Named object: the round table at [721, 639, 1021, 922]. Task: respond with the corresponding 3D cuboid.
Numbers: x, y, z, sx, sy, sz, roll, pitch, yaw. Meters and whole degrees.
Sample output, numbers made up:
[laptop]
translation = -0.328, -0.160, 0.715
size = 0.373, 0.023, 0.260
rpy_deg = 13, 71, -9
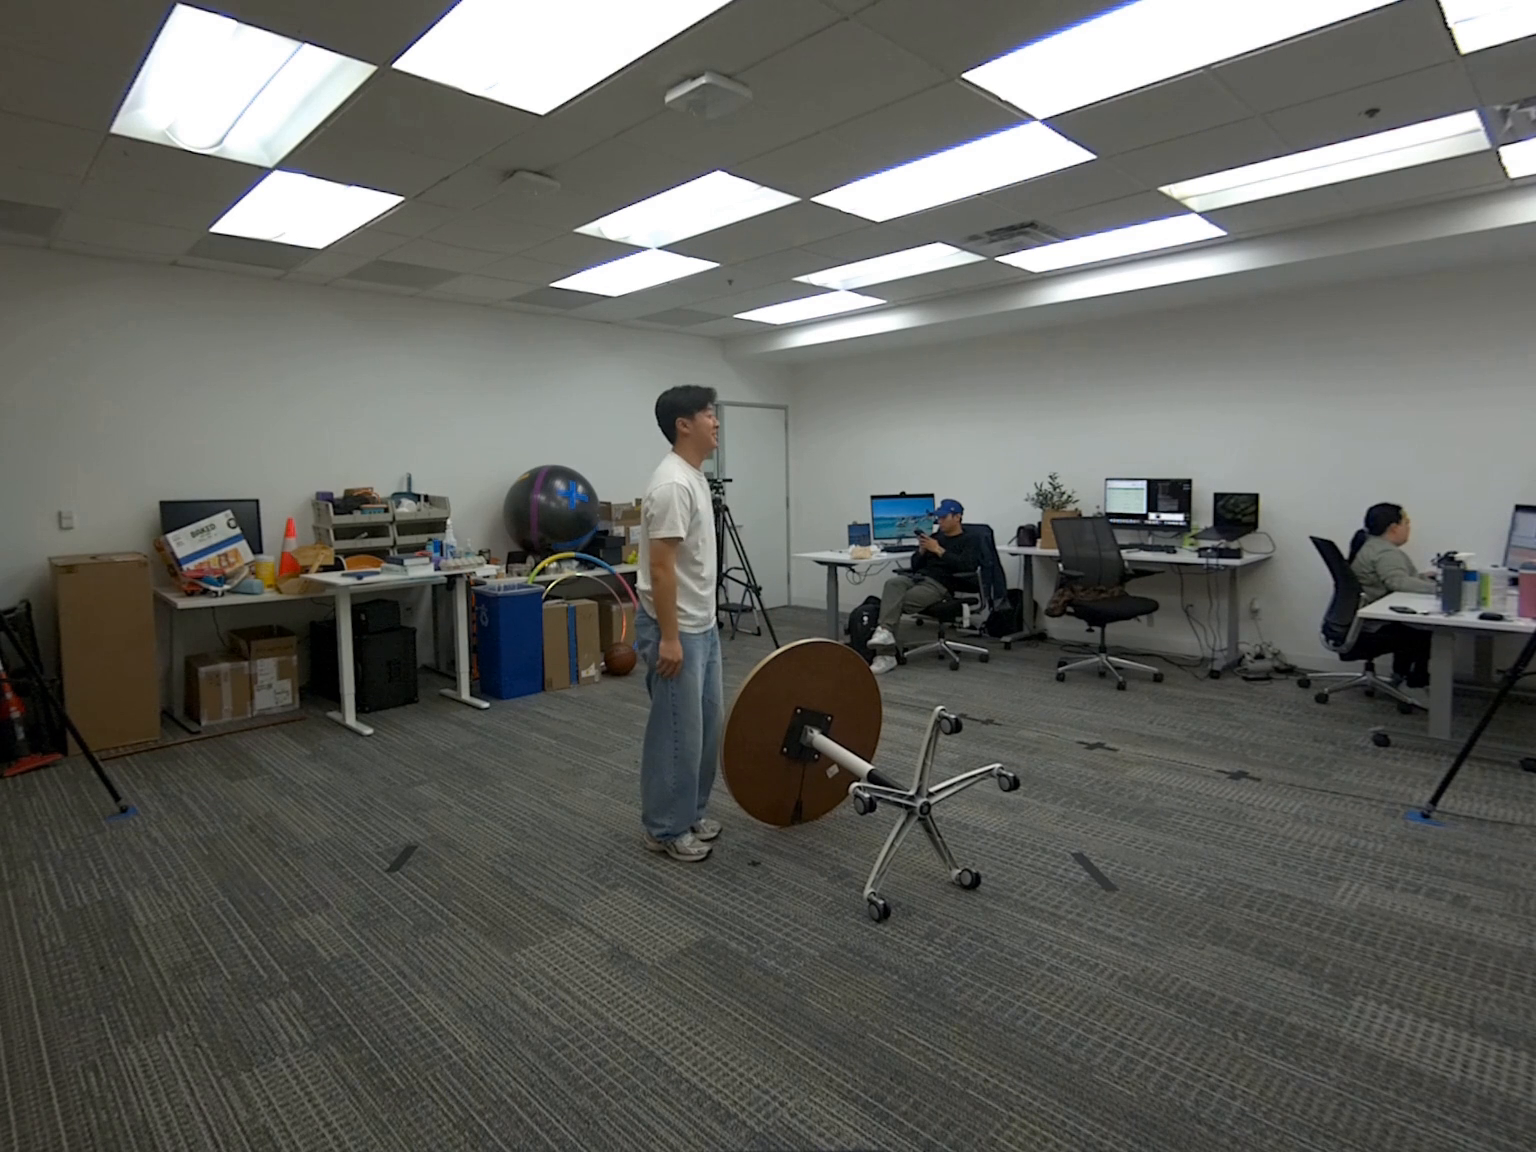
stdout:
[round table]
translation = 0.354, 0.706, 3.076
size = 0.746, 0.757, 0.820
rpy_deg = -4, 12, -31
